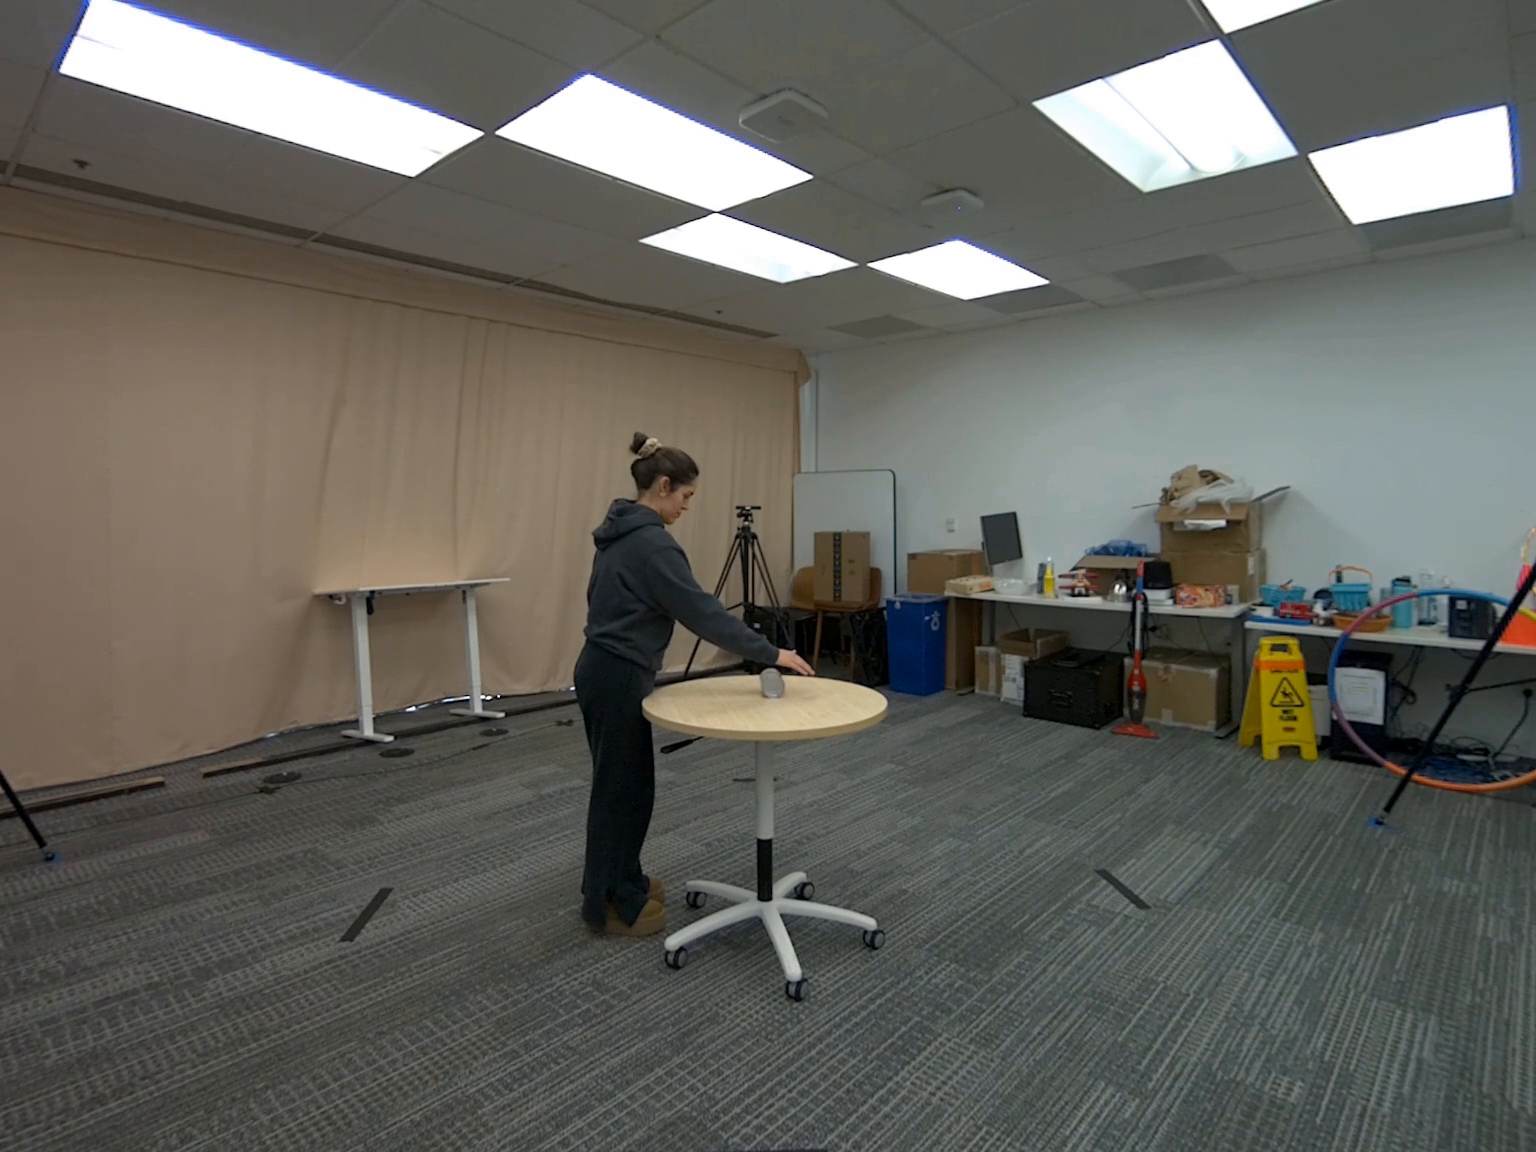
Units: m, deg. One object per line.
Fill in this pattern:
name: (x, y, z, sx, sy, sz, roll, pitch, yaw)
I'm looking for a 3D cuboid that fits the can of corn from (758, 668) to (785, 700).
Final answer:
can of corn: (0.021, 0.346, 2.710, 0.074, 0.074, 0.111, 0, 3, -2)
